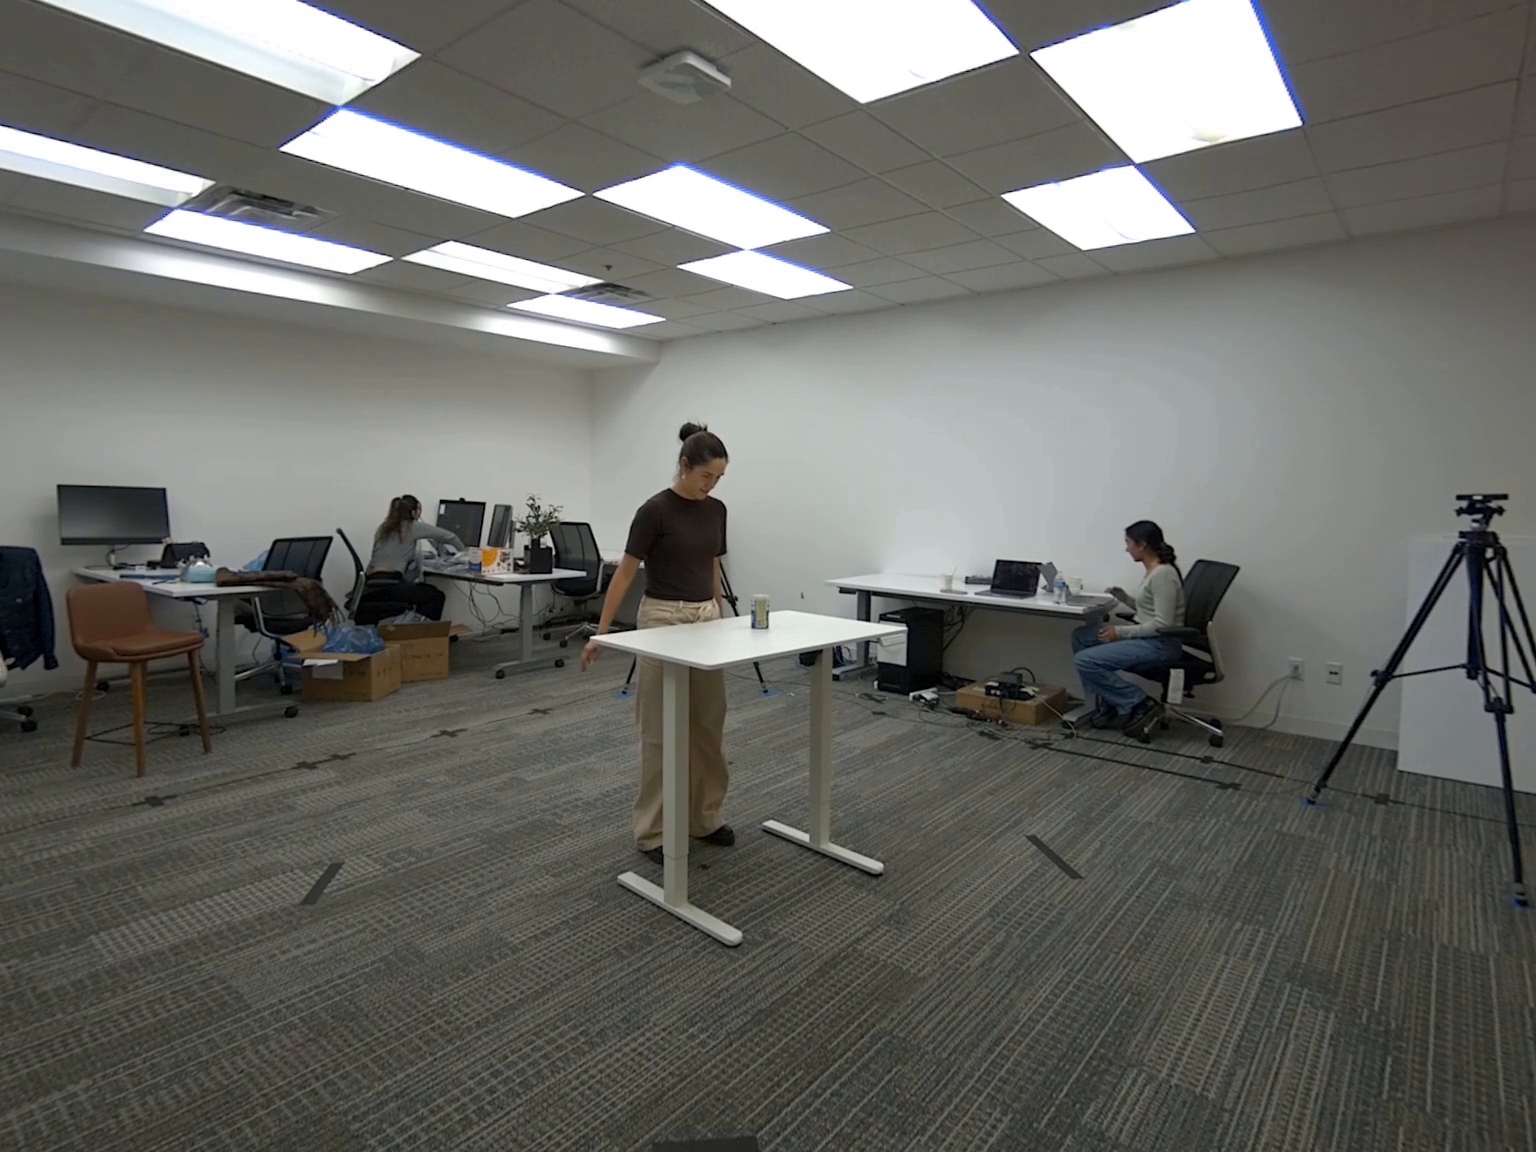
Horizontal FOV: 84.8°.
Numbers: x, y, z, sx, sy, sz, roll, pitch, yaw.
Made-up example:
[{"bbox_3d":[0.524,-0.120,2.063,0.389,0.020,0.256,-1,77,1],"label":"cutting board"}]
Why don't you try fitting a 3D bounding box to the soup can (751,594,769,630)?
[{"bbox_3d":[-0.042,0.130,3.084,0.067,0.121,0.067,-1,1,-2],"label":"soup can"}]
